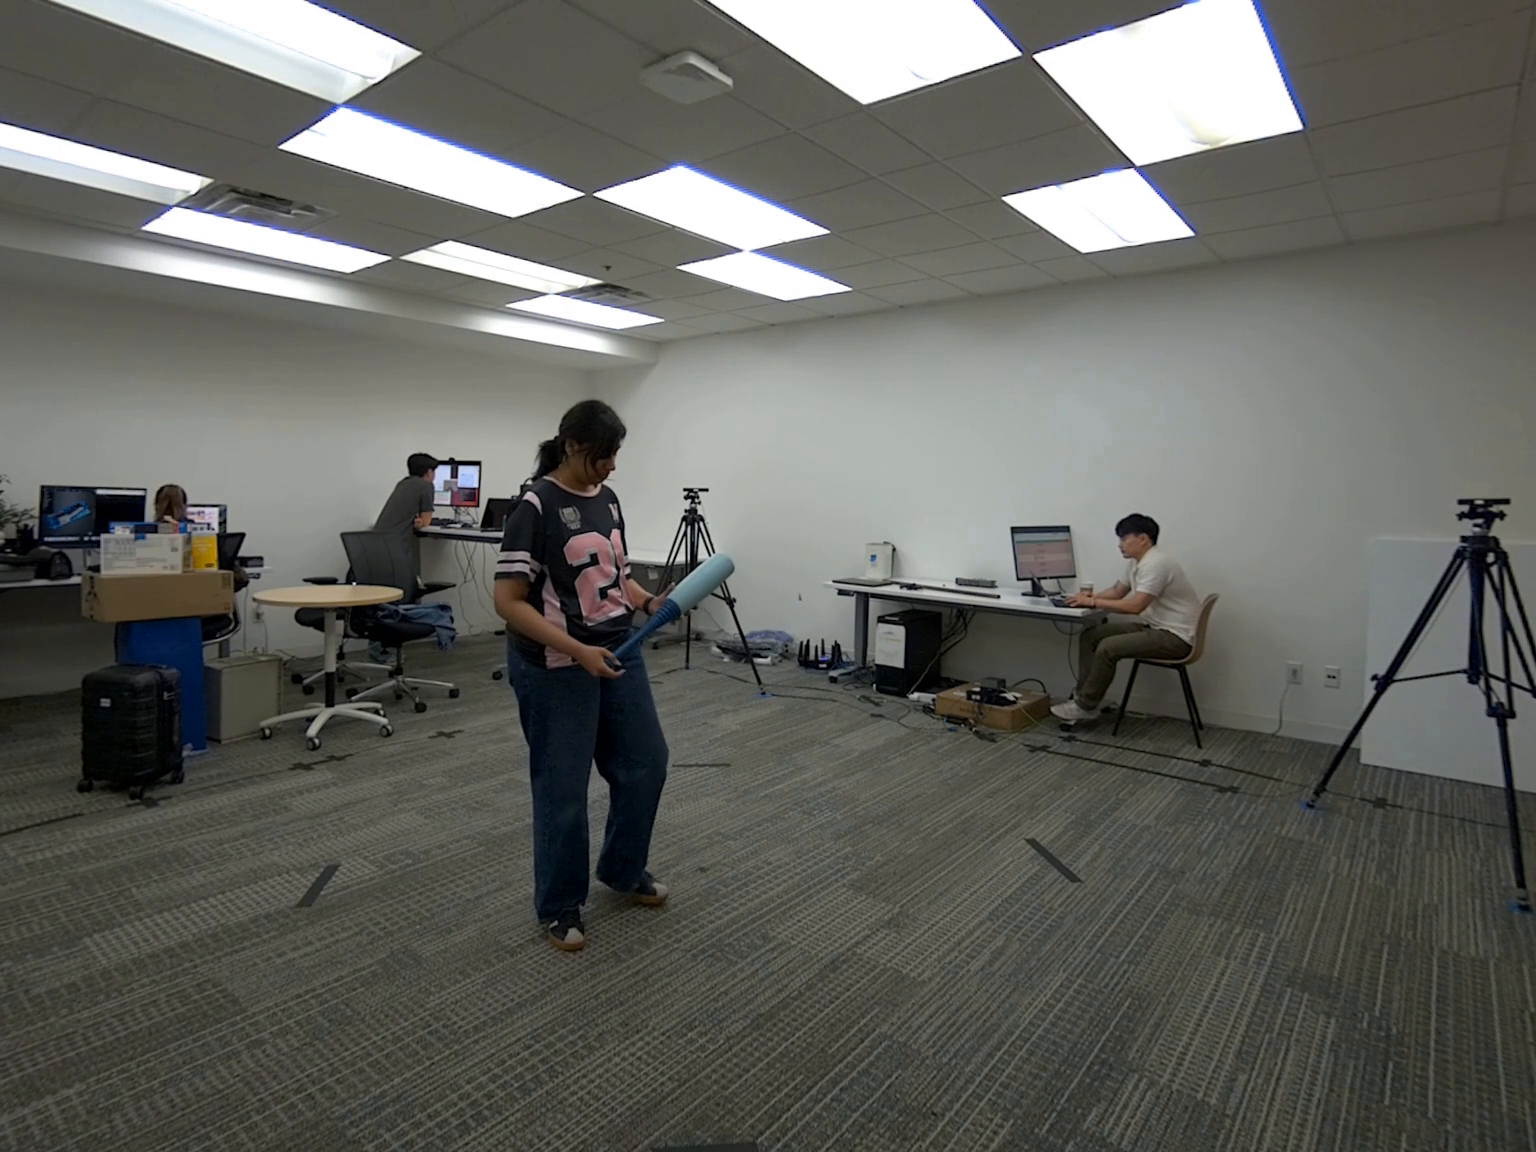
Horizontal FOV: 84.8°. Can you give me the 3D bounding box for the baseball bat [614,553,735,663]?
[{"bbox_3d":[-0.318,0.115,2.581,0.540,0.086,0.092,-42,26,-26],"label":"baseball bat"}]
